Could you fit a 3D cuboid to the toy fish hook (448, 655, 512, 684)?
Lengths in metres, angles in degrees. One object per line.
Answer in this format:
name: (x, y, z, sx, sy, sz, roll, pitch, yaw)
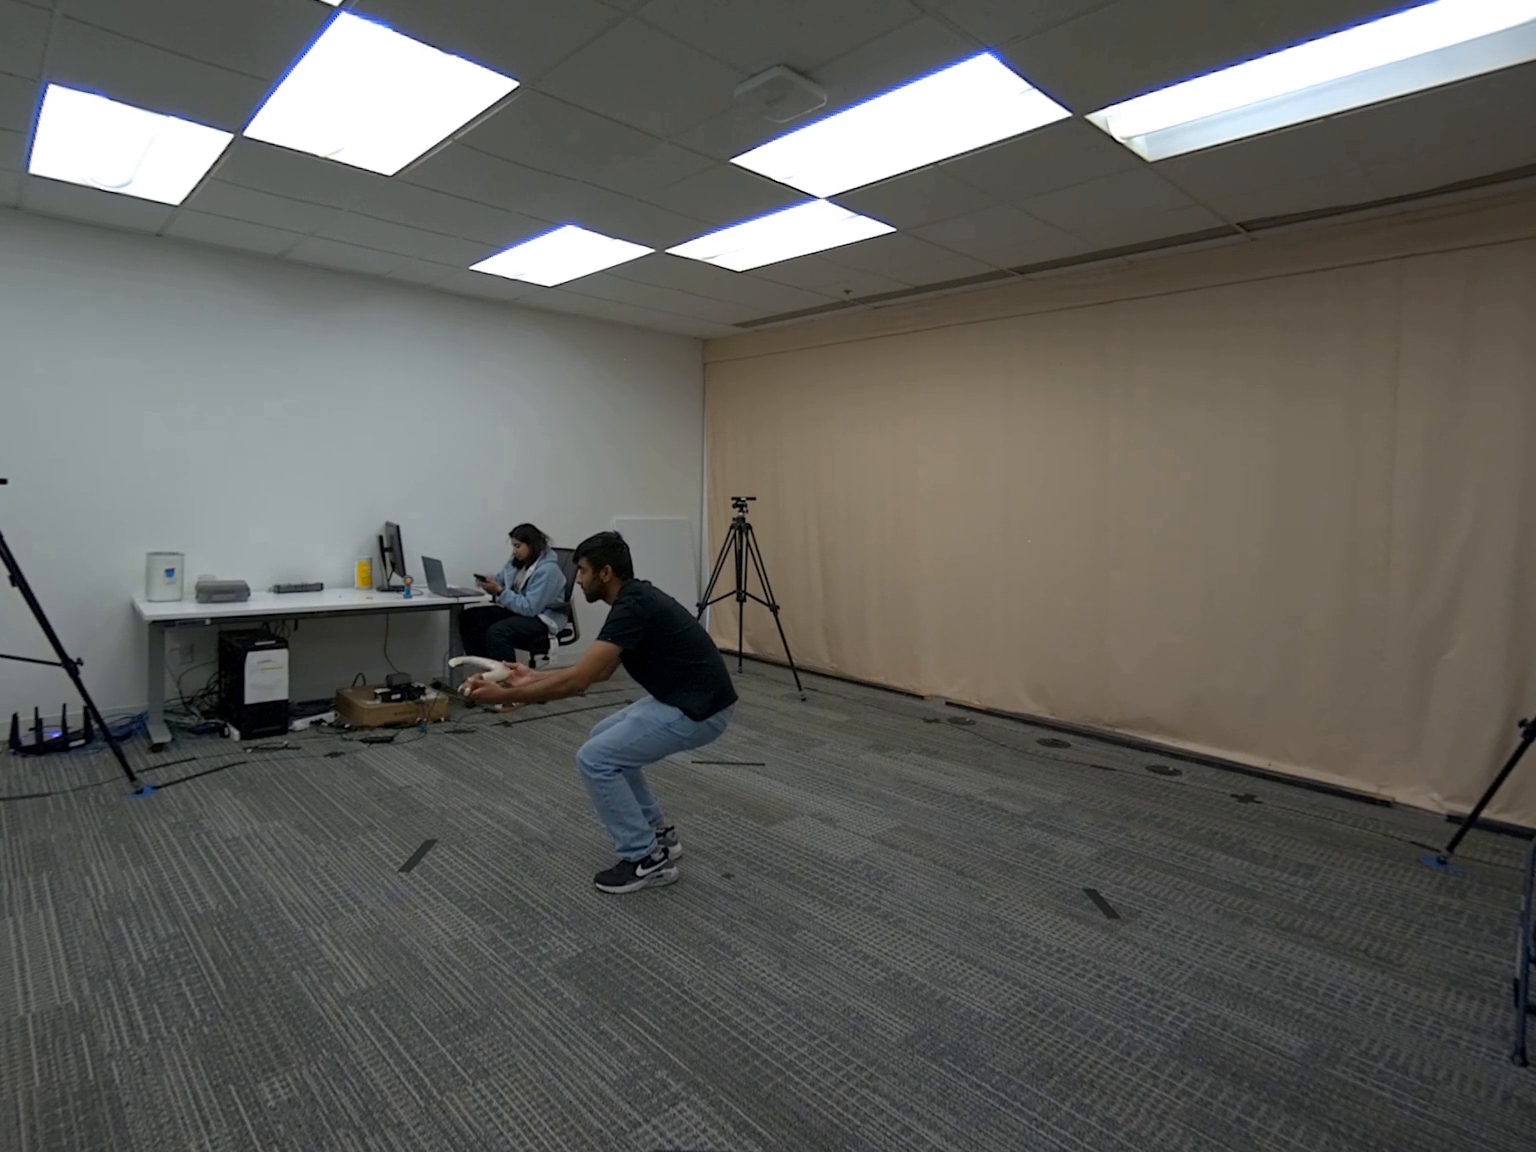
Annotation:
toy fish hook: (-1.076, 0.362, 3.074, 0.225, 0.048, 0.506, 10, 2, 0)
